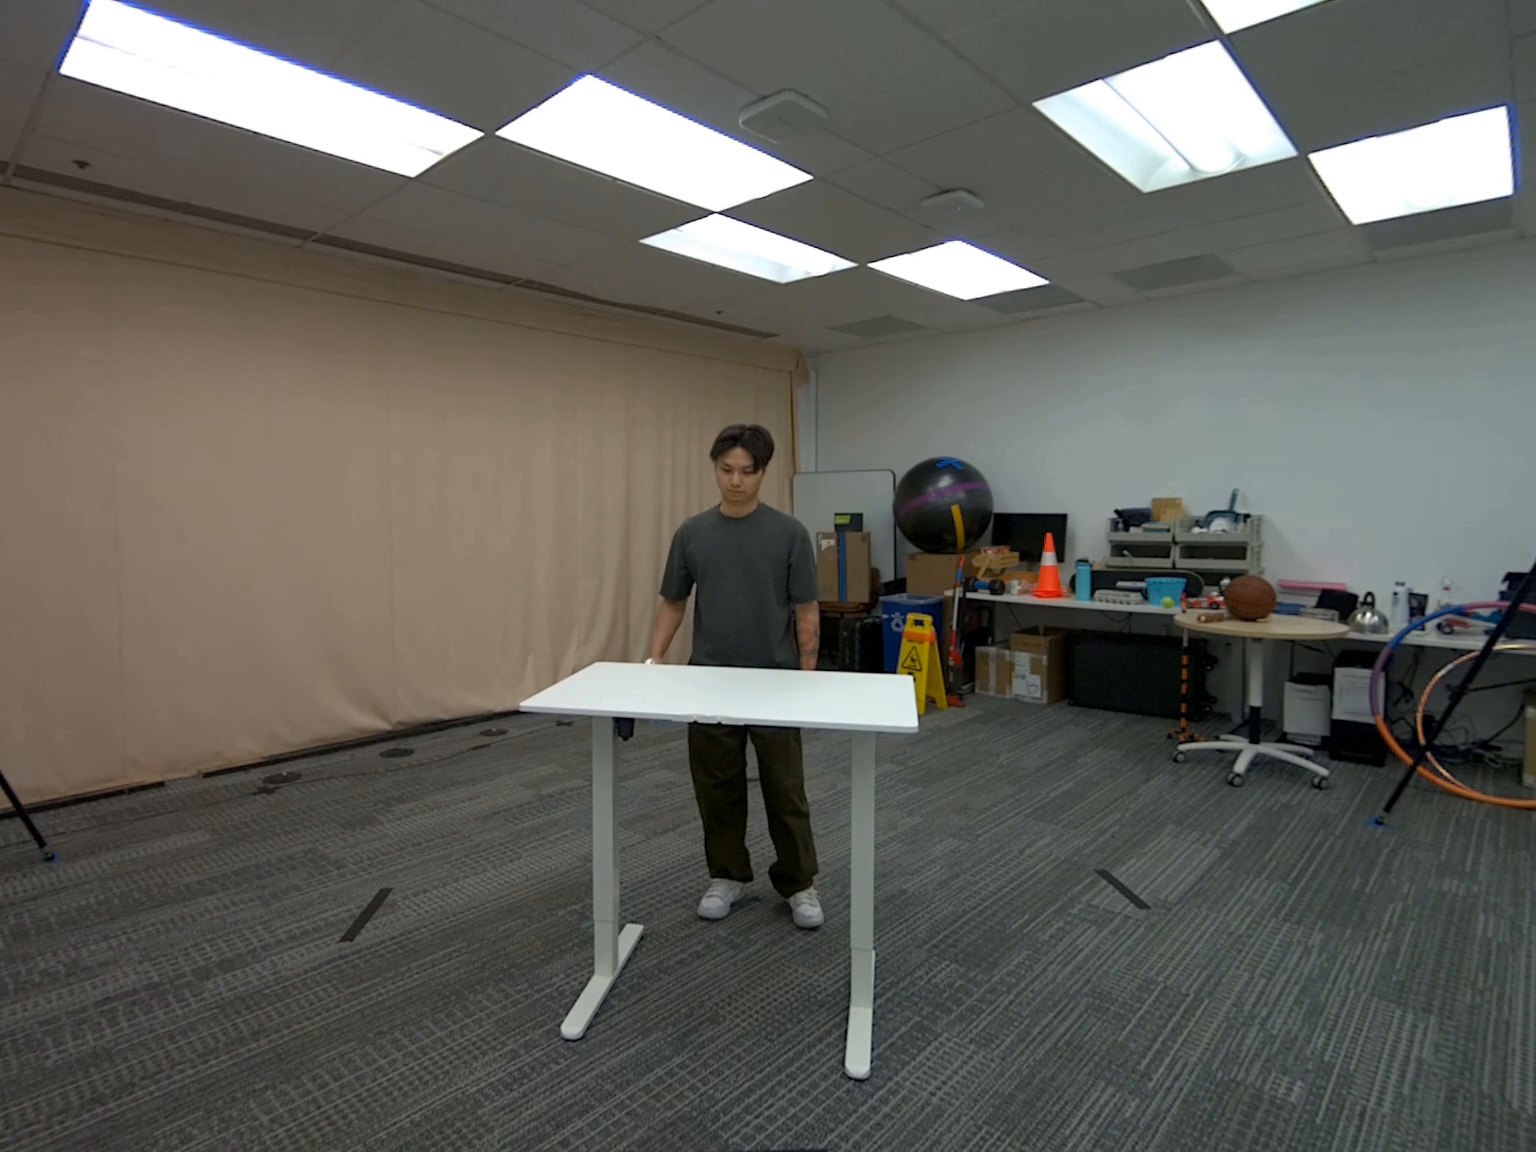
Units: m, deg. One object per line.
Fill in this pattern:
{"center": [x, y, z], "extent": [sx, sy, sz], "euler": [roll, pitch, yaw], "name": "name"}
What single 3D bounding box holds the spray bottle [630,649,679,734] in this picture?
{"center": [-0.391, 0.399, 2.930], "extent": [0.090, 0.291, 0.089], "euler": [27, 50, 32], "name": "spray bottle"}
